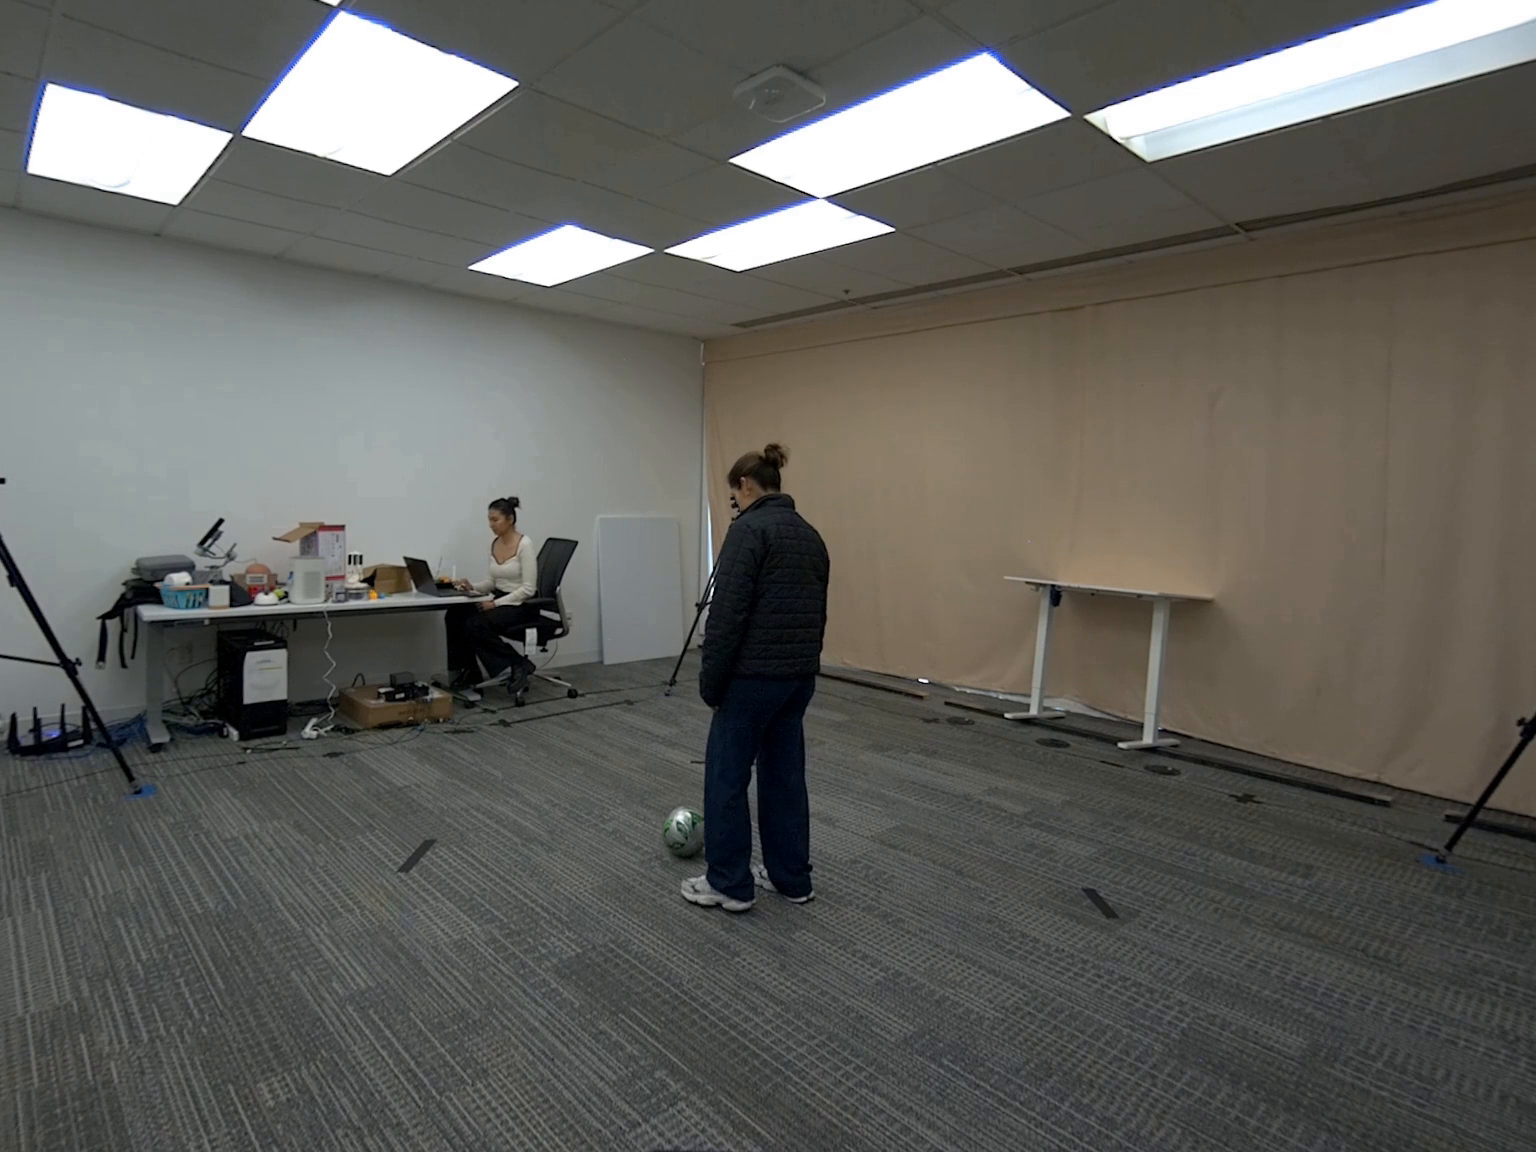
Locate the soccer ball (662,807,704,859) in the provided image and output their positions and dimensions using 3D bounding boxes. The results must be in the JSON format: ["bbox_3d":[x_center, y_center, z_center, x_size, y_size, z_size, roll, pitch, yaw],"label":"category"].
[{"bbox_3d":[-0.331,0.993,3.277,0.187,0.187,0.188,1,4,-1],"label":"soccer ball"}]
